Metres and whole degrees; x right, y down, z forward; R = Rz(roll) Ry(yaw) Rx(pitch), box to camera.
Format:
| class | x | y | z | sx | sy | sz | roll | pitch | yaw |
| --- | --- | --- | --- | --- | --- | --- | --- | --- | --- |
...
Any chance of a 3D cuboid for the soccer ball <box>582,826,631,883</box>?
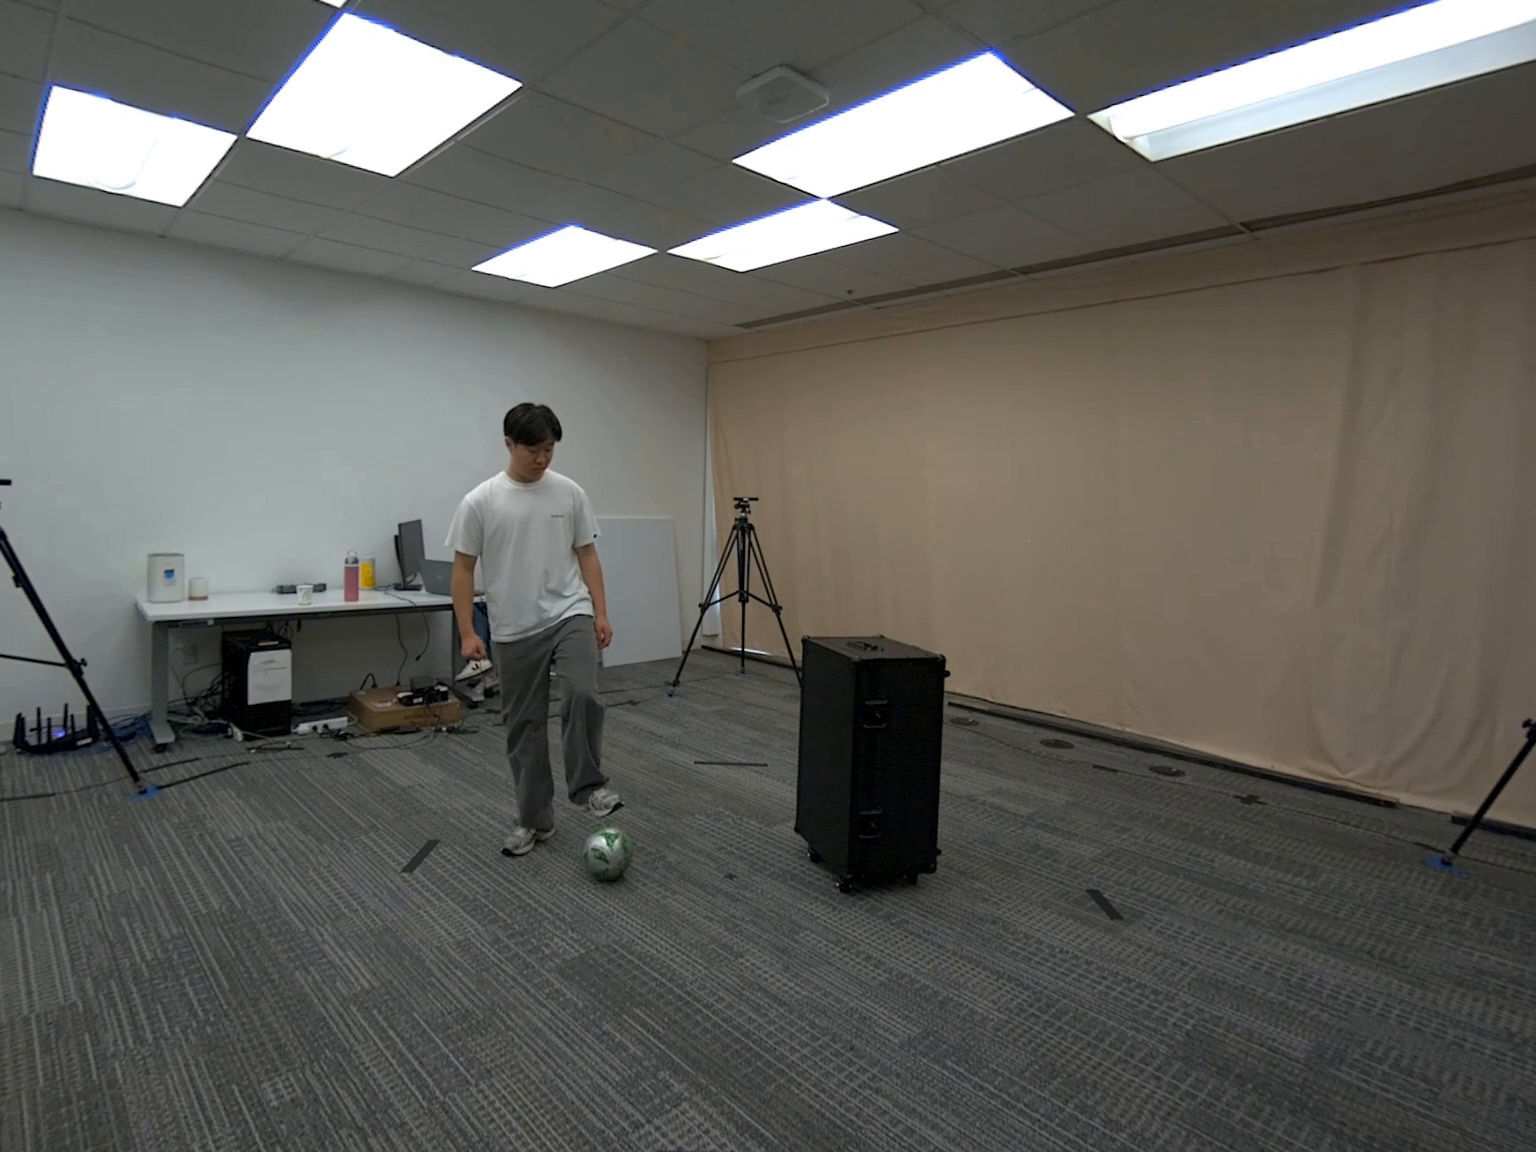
| class | x | y | z | sx | sy | sz | roll | pitch | yaw |
| --- | --- | --- | --- | --- | --- | --- | --- | --- | --- |
| soccer ball | -0.583 | 1.002 | 3.068 | 0.187 | 0.187 | 0.188 | 1 | 4 | -1 |
